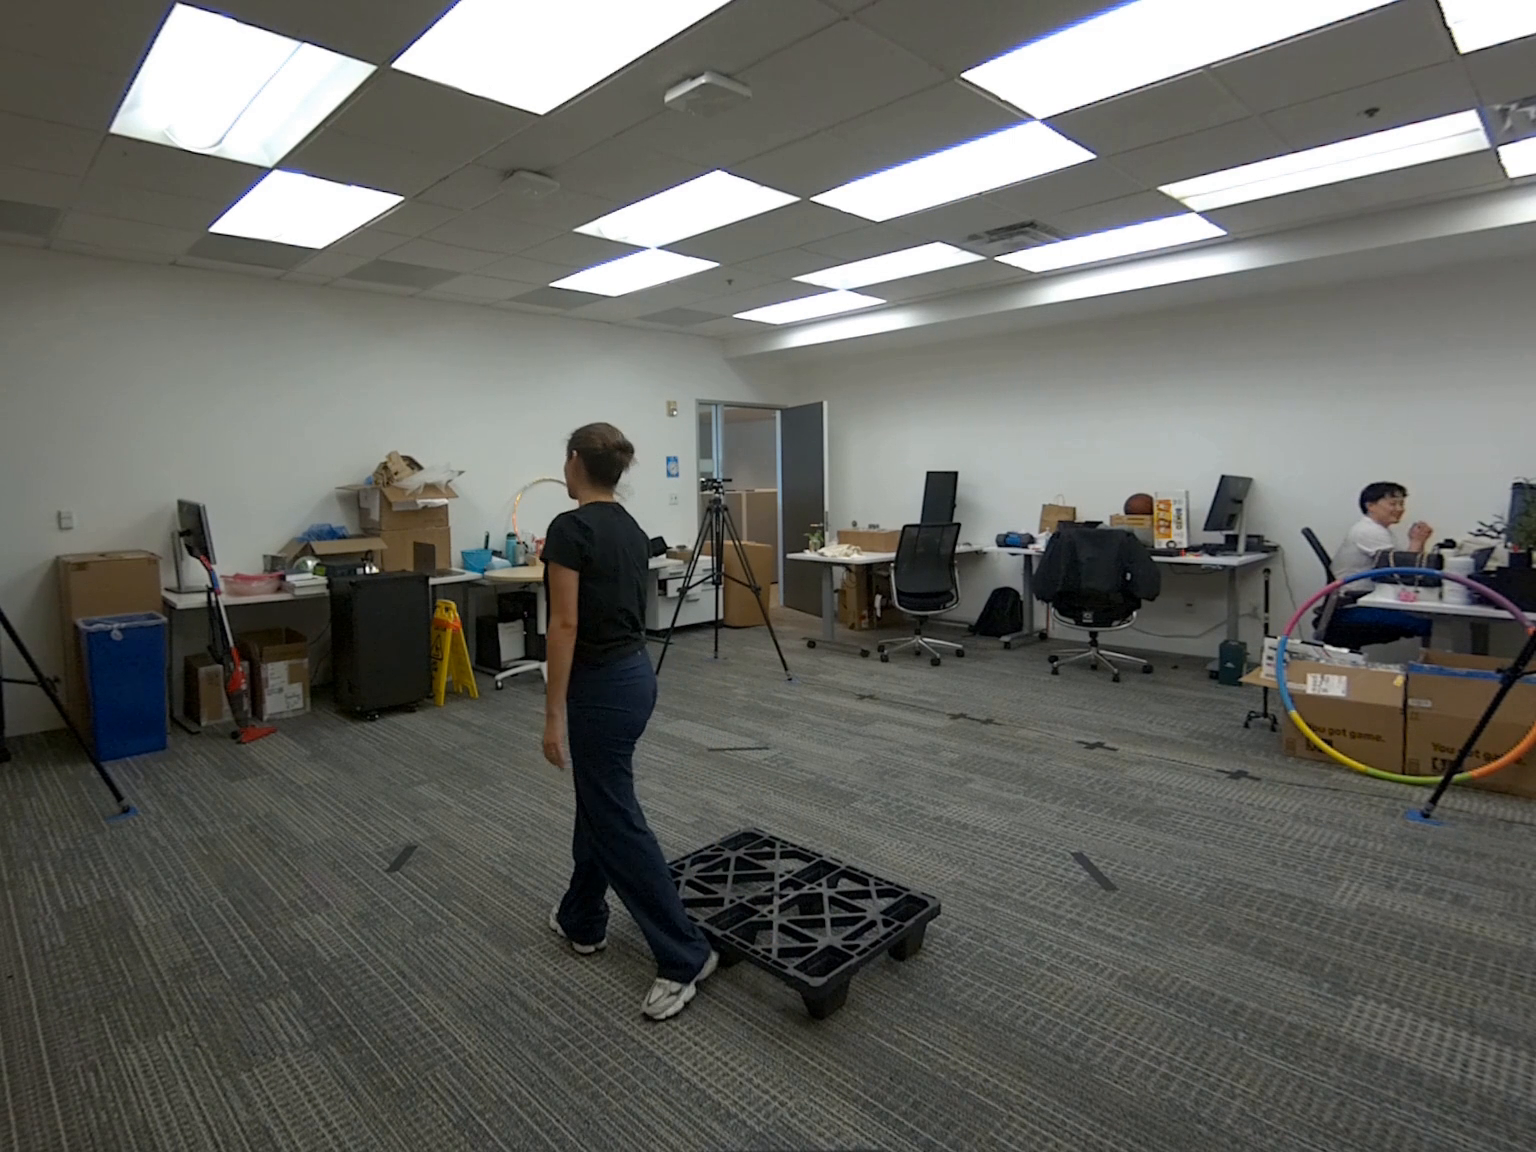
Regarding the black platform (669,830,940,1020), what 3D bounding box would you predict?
[{"bbox_3d":[0.031,1.031,2.643,0.831,0.142,0.589,6,9,43],"label":"black platform"}]
